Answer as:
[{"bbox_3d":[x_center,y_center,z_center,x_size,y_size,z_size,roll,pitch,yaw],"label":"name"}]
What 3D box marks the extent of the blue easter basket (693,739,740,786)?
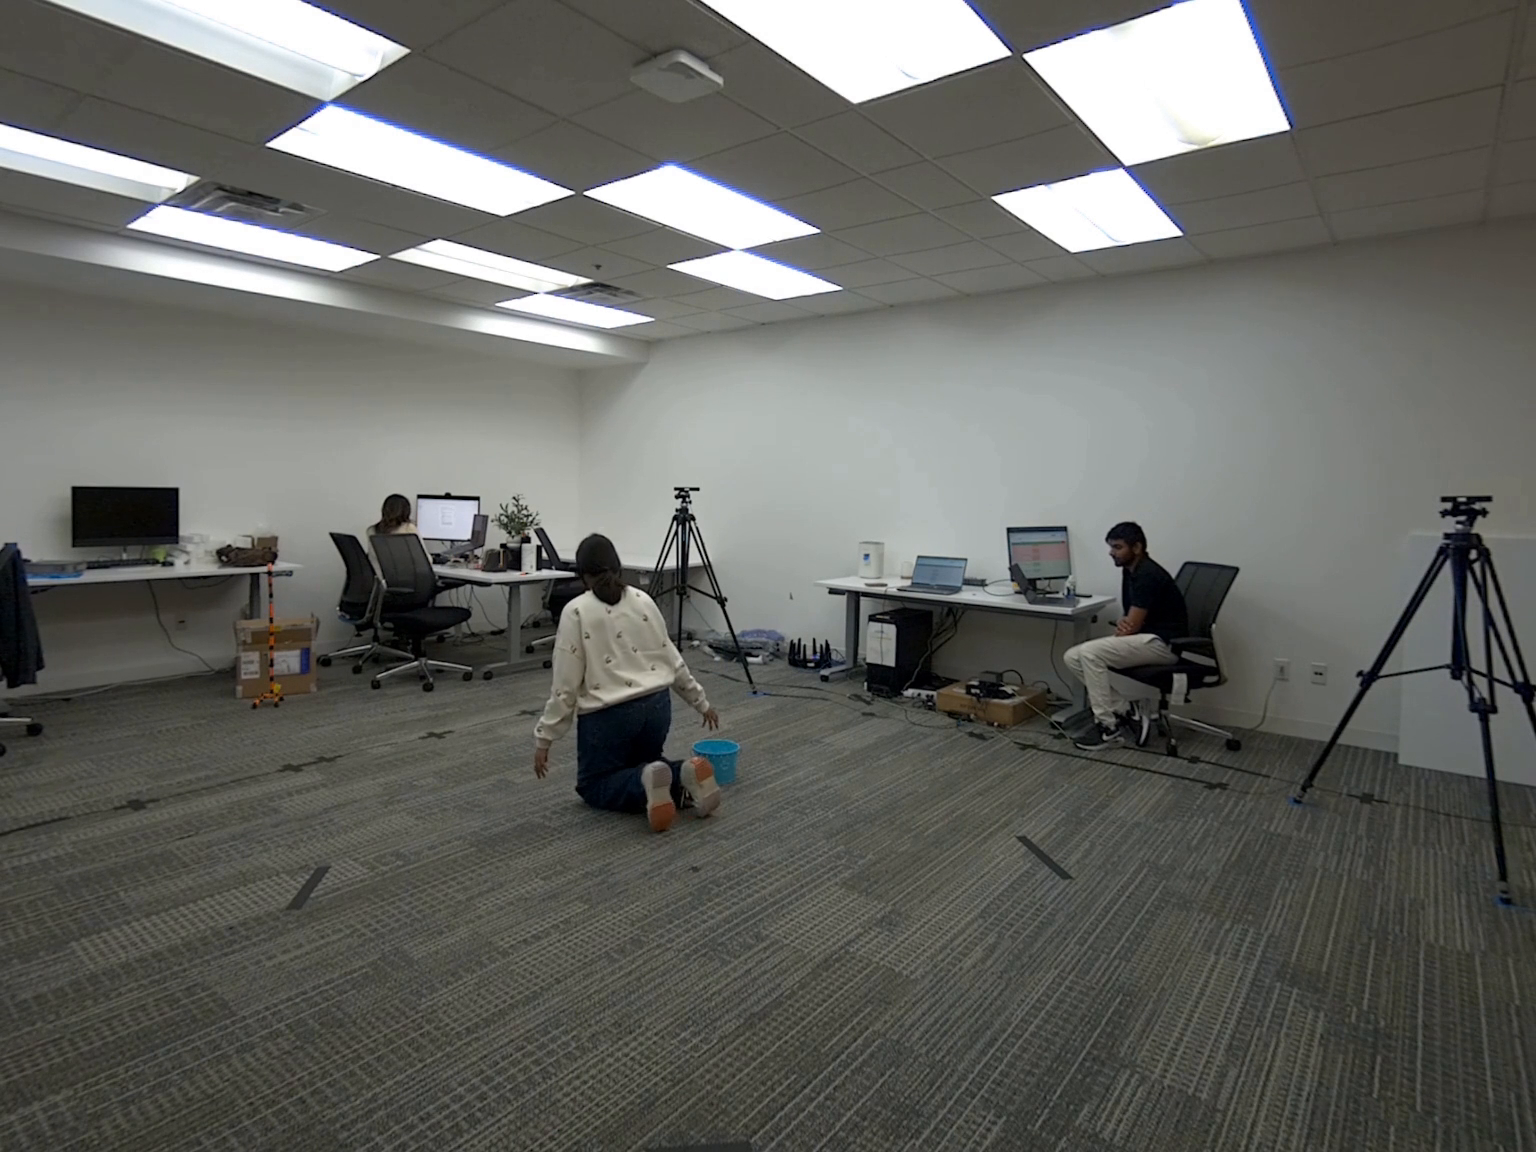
[{"bbox_3d":[-0.258,0.892,4.105,0.243,0.155,0.245,1,5,-2],"label":"blue easter basket"}]
